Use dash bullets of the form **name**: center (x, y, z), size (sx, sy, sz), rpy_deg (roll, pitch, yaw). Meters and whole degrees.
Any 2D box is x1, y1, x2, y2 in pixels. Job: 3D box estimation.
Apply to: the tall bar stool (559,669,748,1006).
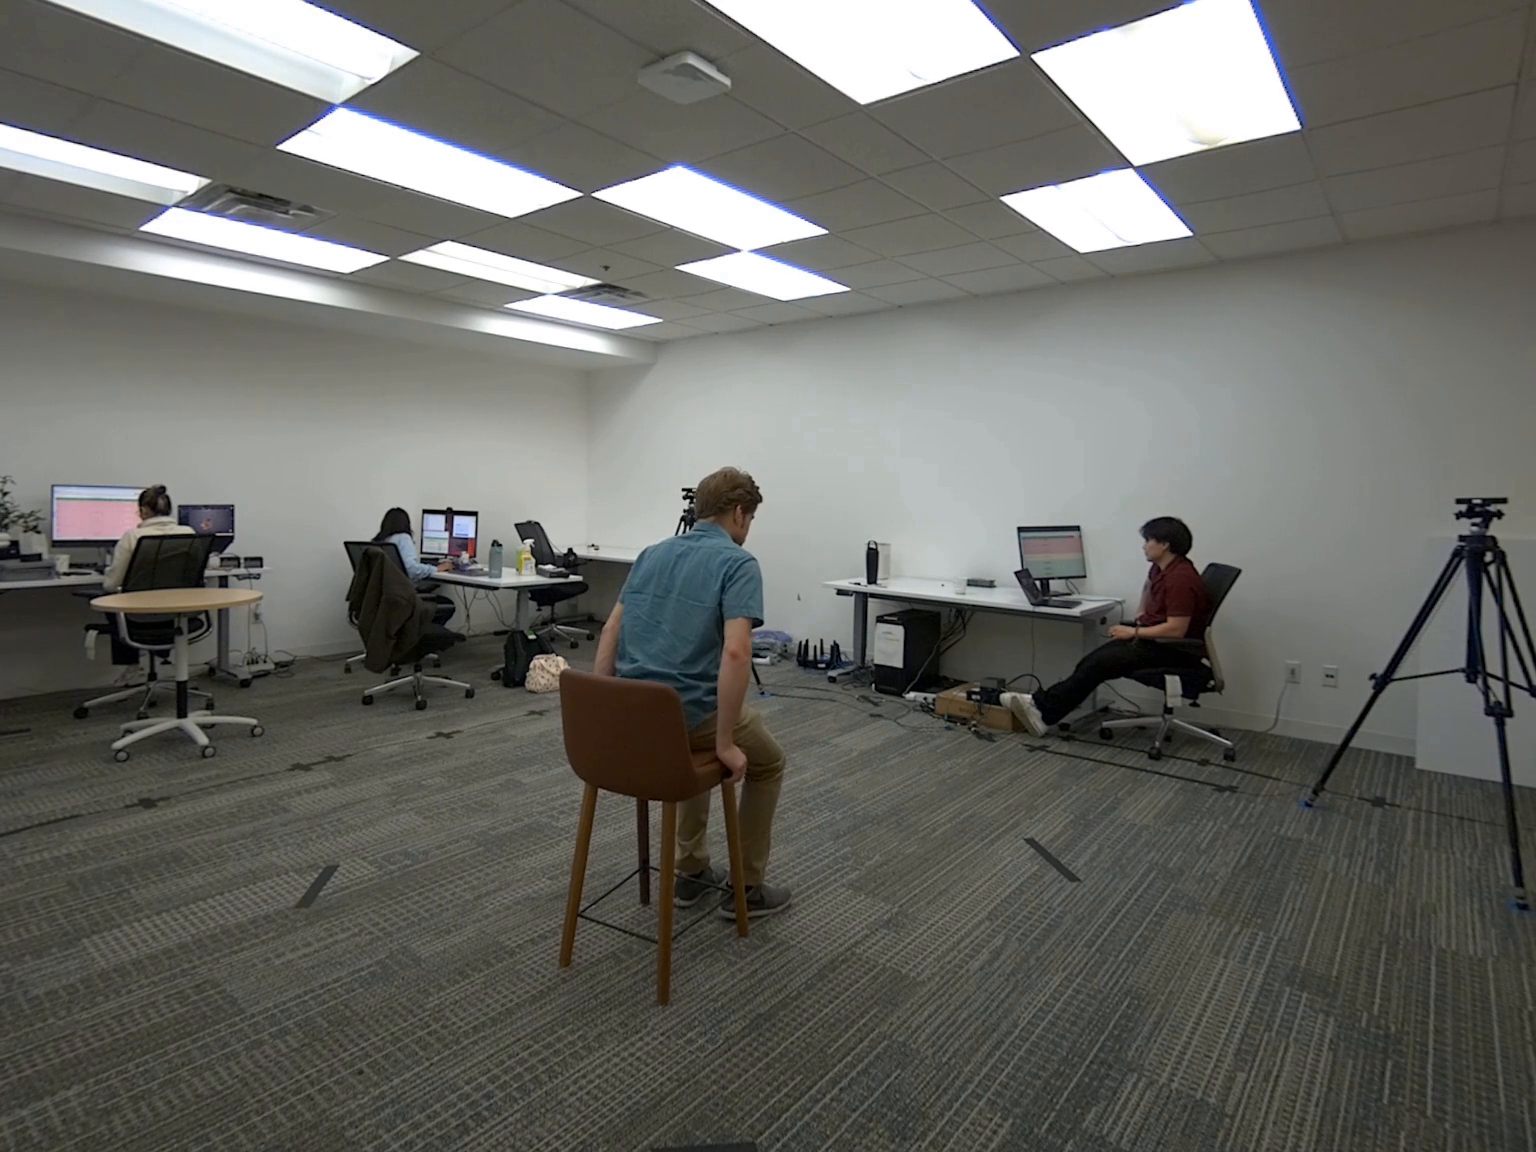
- **tall bar stool**: center (-0.353, 0.689, 2.538), size (0.469, 0.886, 0.456), rpy_deg (2, 5, 29)
